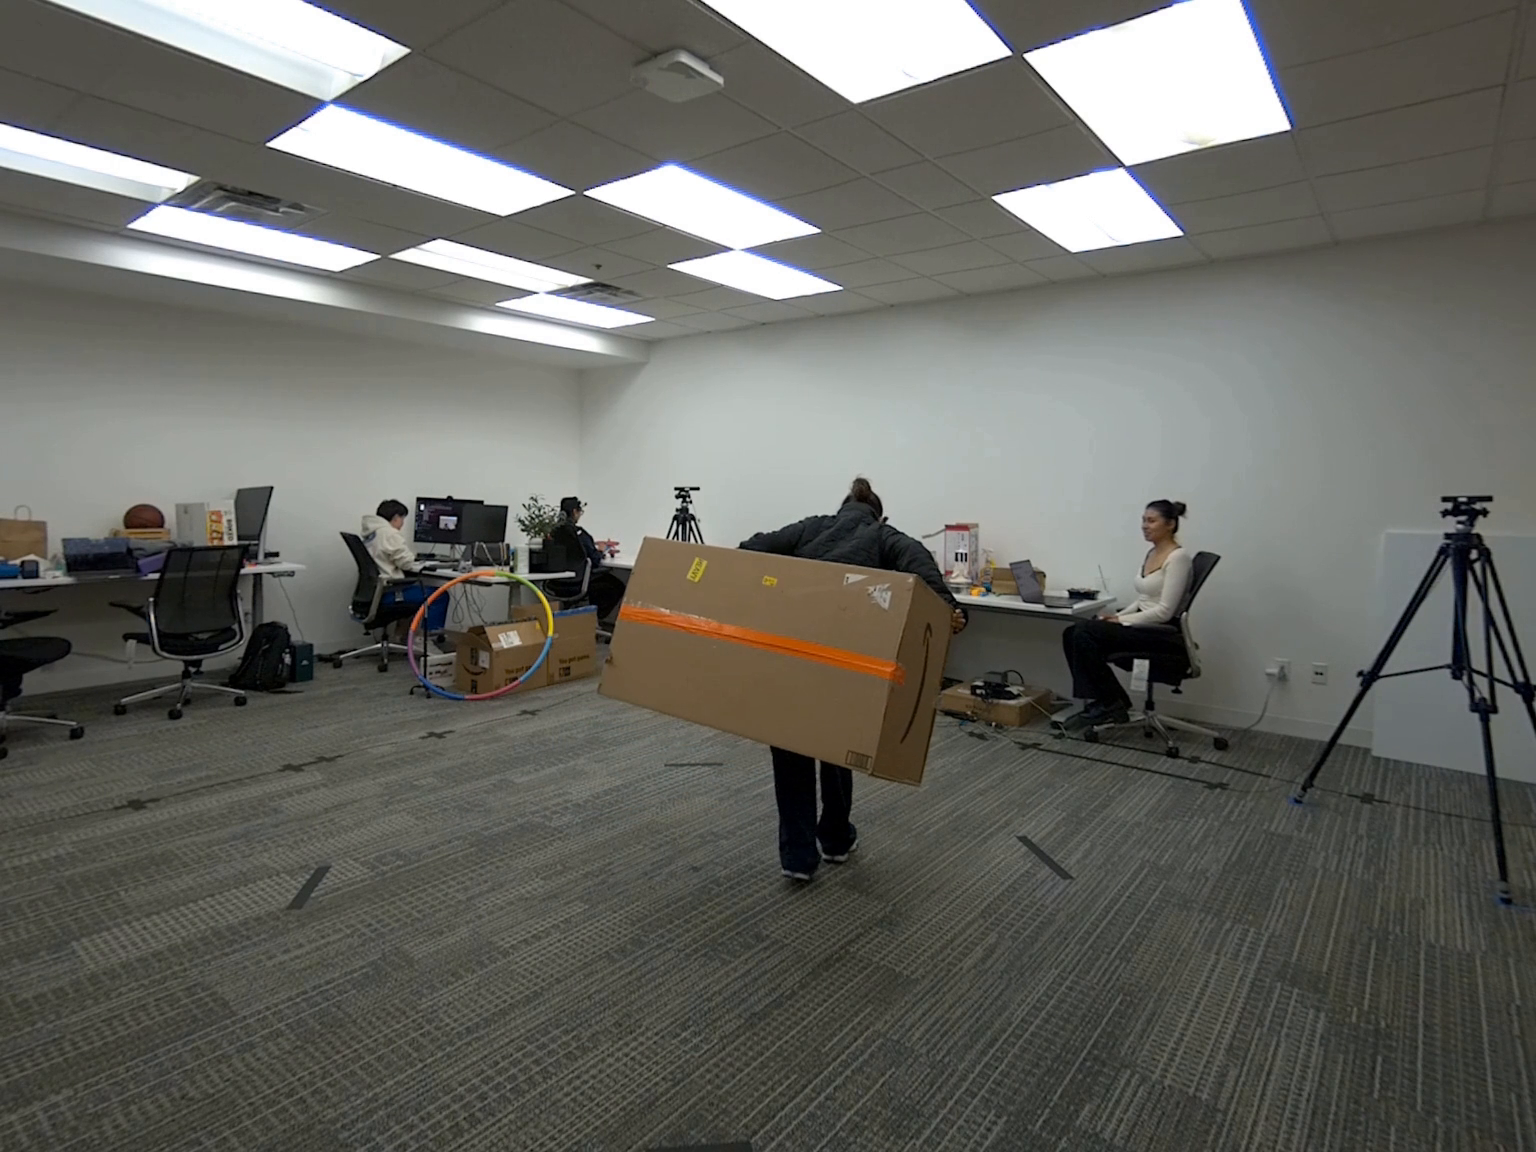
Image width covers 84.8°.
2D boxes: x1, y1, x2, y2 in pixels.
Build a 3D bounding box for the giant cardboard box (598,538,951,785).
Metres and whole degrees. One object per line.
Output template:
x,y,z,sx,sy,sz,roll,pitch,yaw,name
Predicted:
0.027,0.260,2.838,1.060,0.581,0.409,9,-13,33,giant cardboard box
